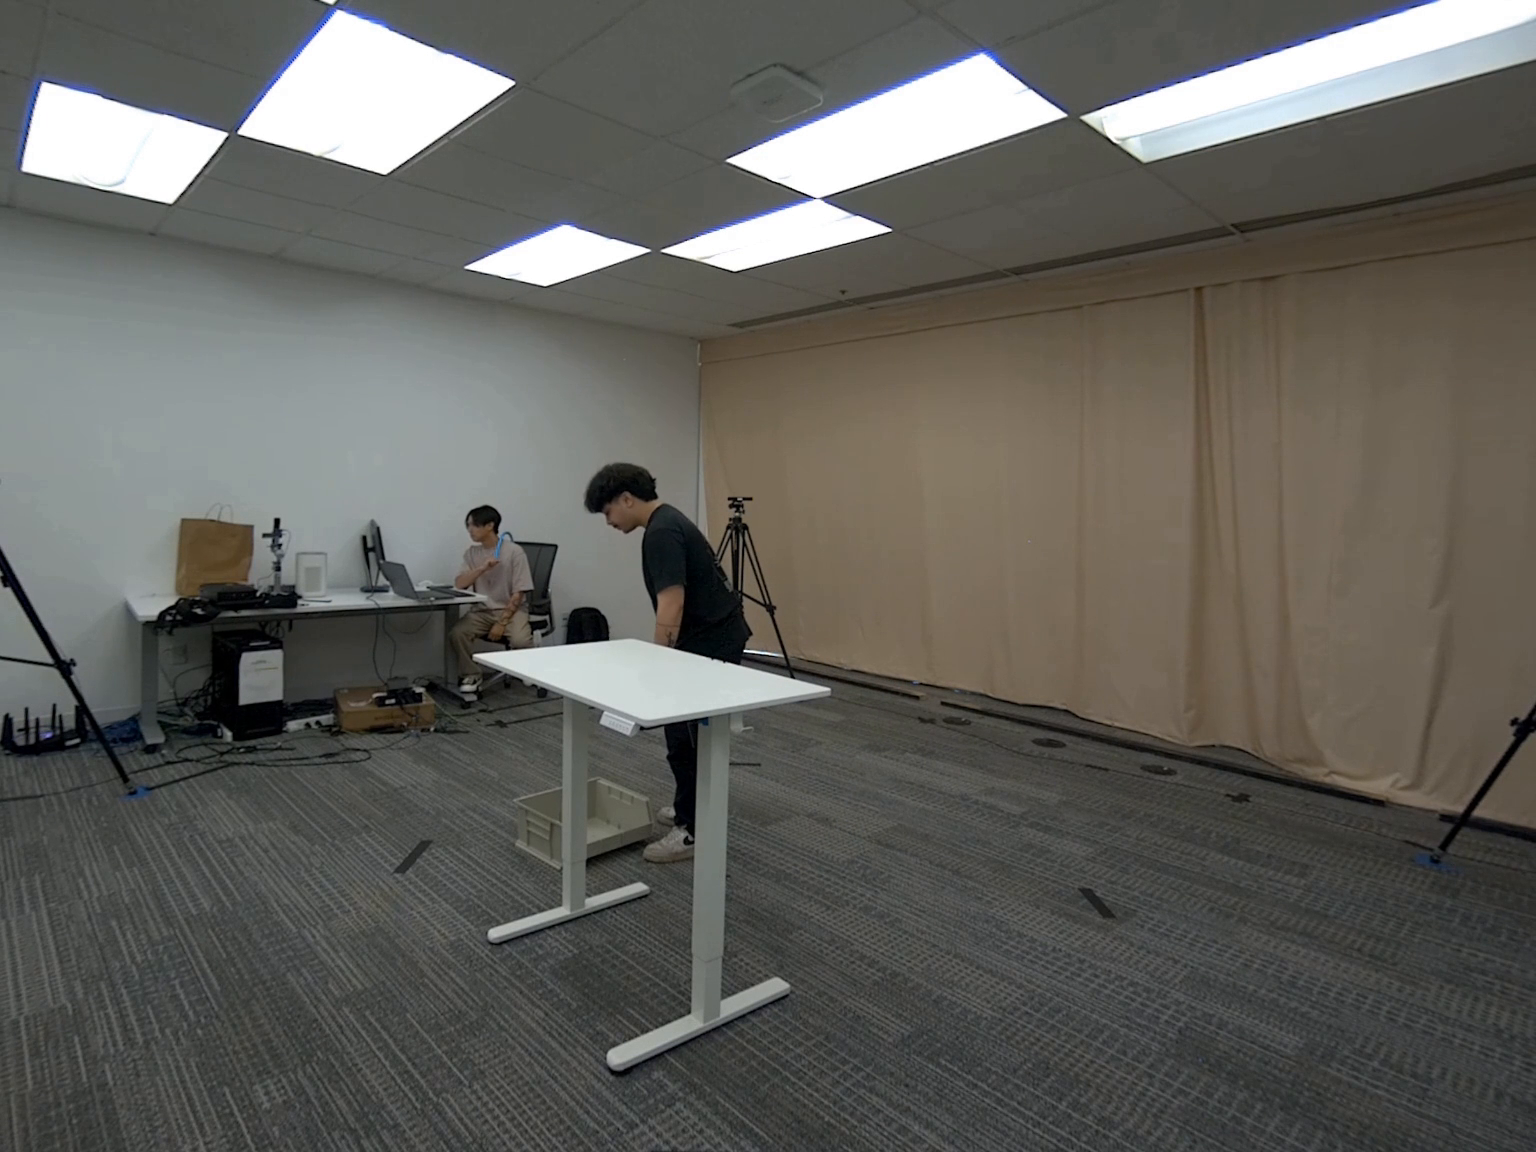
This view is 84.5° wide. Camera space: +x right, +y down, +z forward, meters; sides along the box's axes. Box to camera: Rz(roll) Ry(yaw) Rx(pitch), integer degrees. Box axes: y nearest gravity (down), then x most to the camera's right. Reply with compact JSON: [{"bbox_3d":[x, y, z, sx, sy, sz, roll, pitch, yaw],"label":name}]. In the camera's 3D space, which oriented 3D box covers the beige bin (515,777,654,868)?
[{"bbox_3d":[-0.736,0.982,3.355,0.387,0.188,0.413,5,7,44],"label":"beige bin"}]
